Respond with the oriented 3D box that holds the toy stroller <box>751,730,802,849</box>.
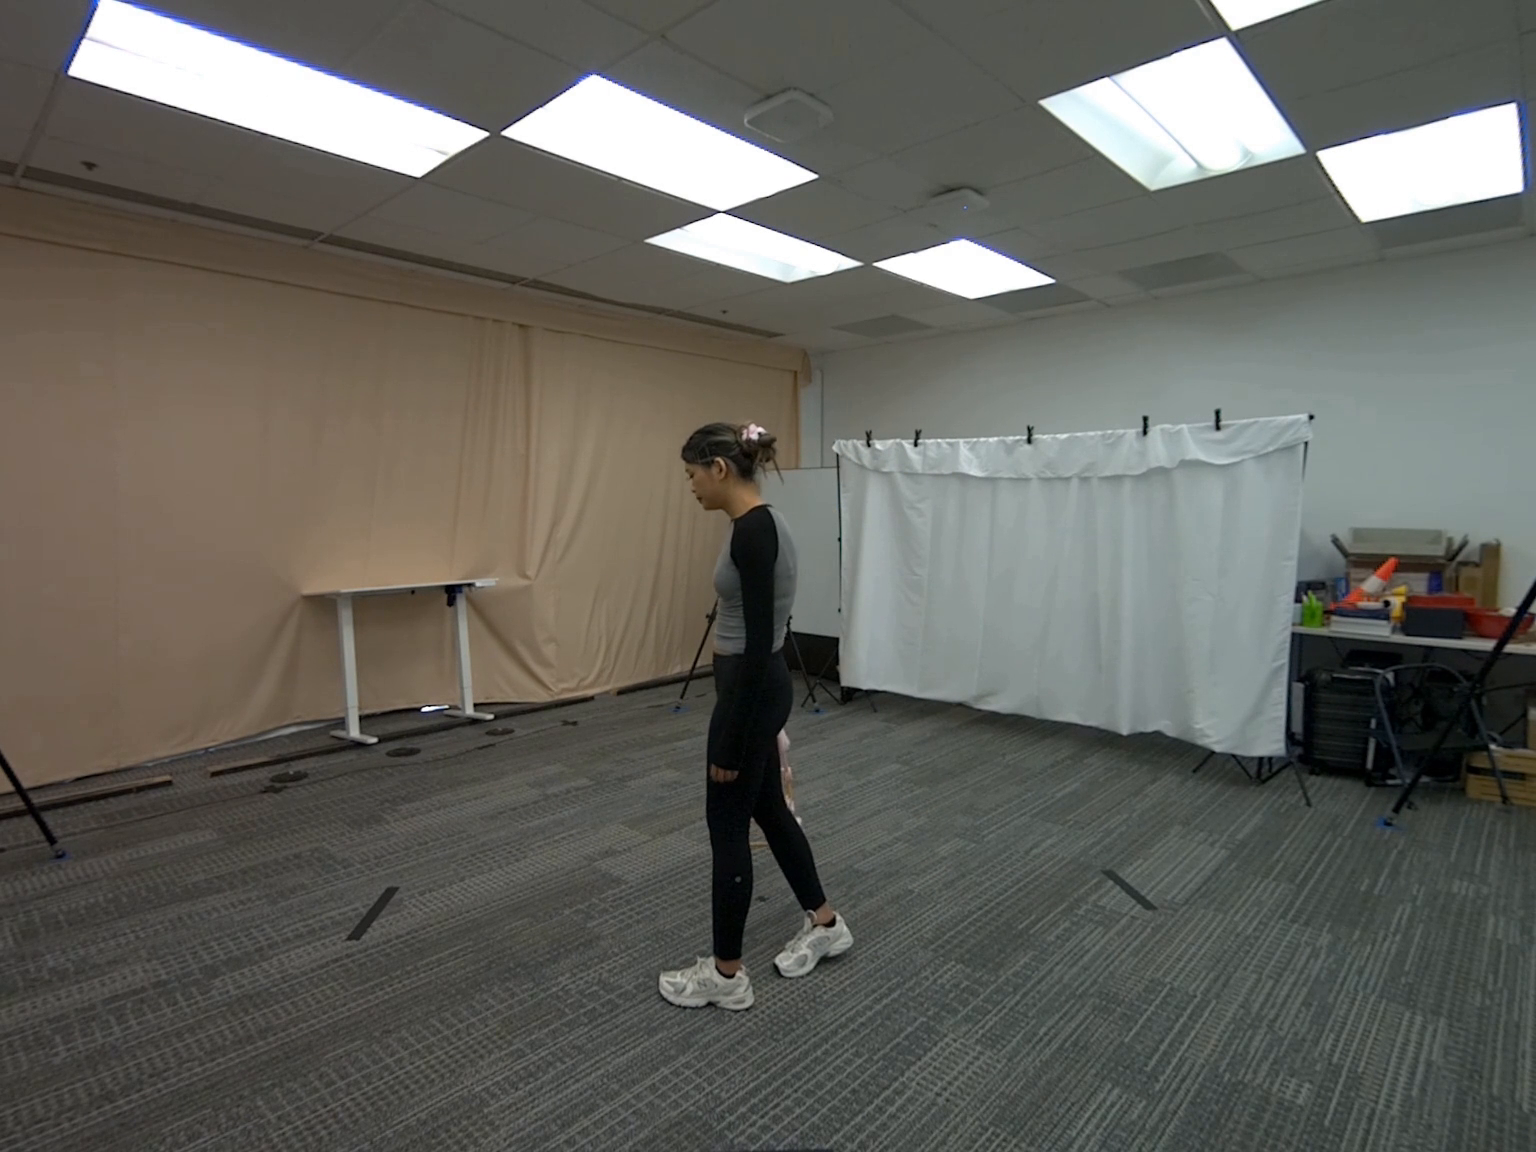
[{"bbox_3d":[-0.027,0.689,2.833,0.285,0.536,0.337,-7,-1,12],"label":"toy stroller"}]
